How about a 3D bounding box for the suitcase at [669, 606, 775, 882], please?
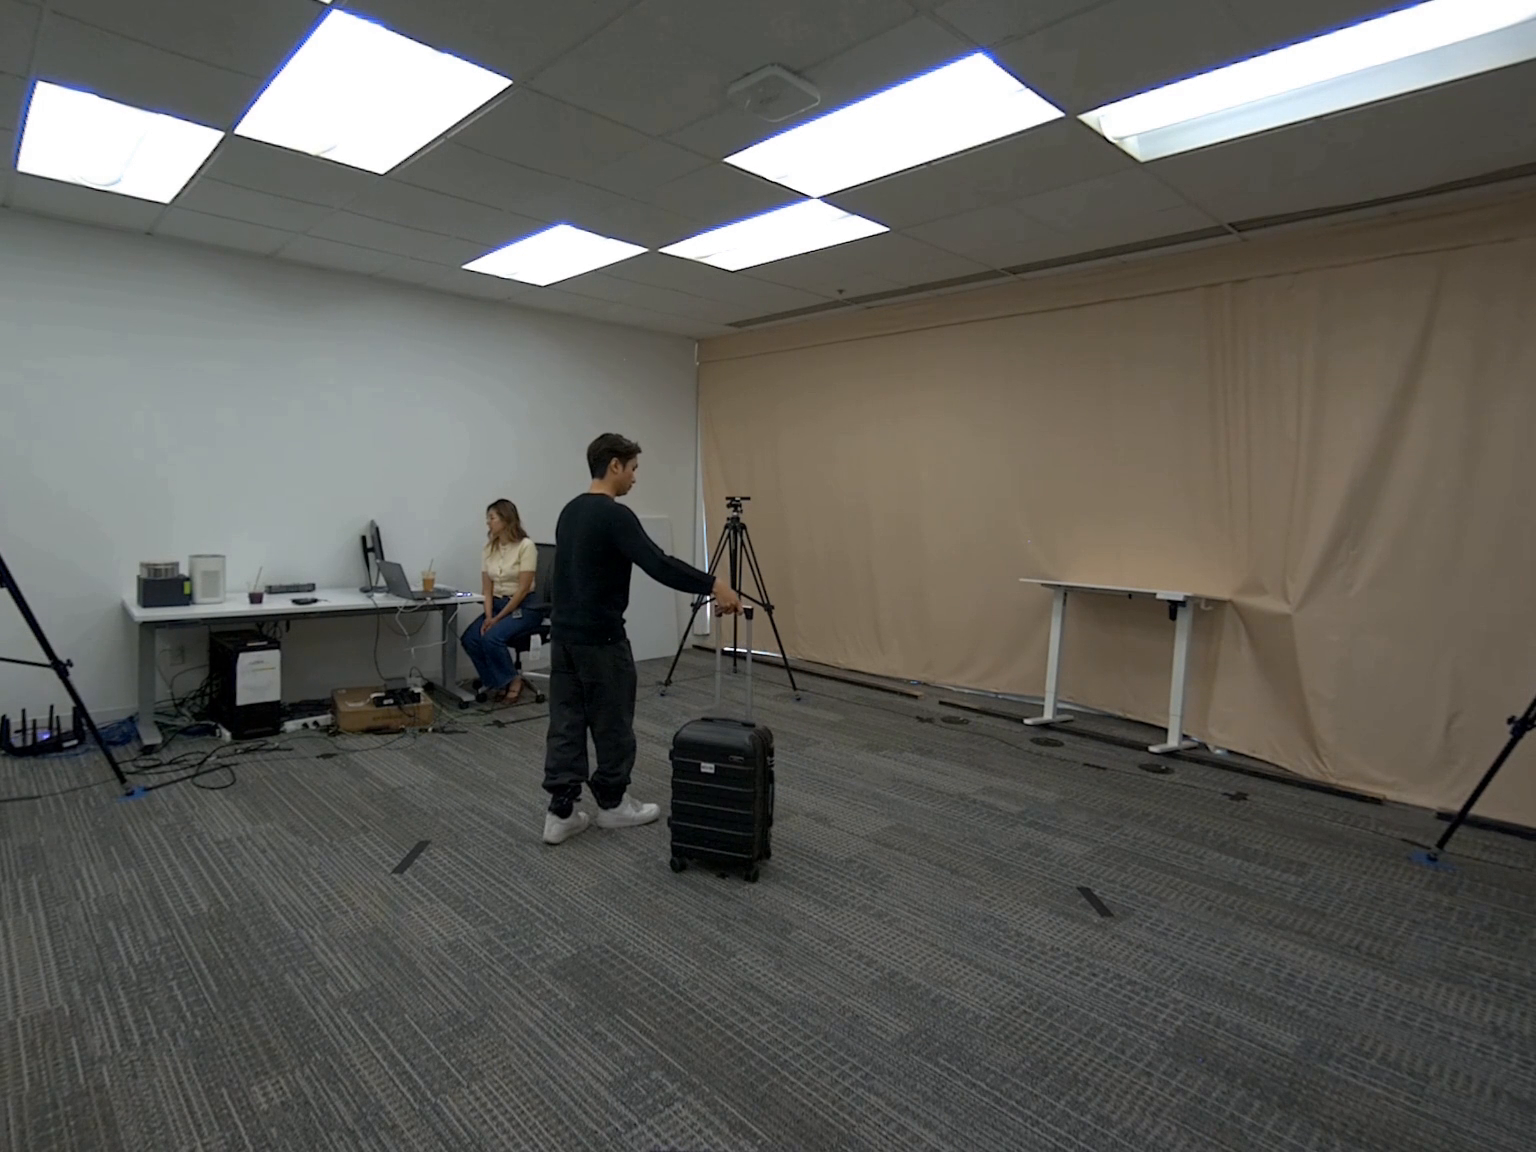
[{"bbox_3d":[-0.176,0.626,3.160,0.389,0.975,0.254,2,5,17],"label":"suitcase"}]
